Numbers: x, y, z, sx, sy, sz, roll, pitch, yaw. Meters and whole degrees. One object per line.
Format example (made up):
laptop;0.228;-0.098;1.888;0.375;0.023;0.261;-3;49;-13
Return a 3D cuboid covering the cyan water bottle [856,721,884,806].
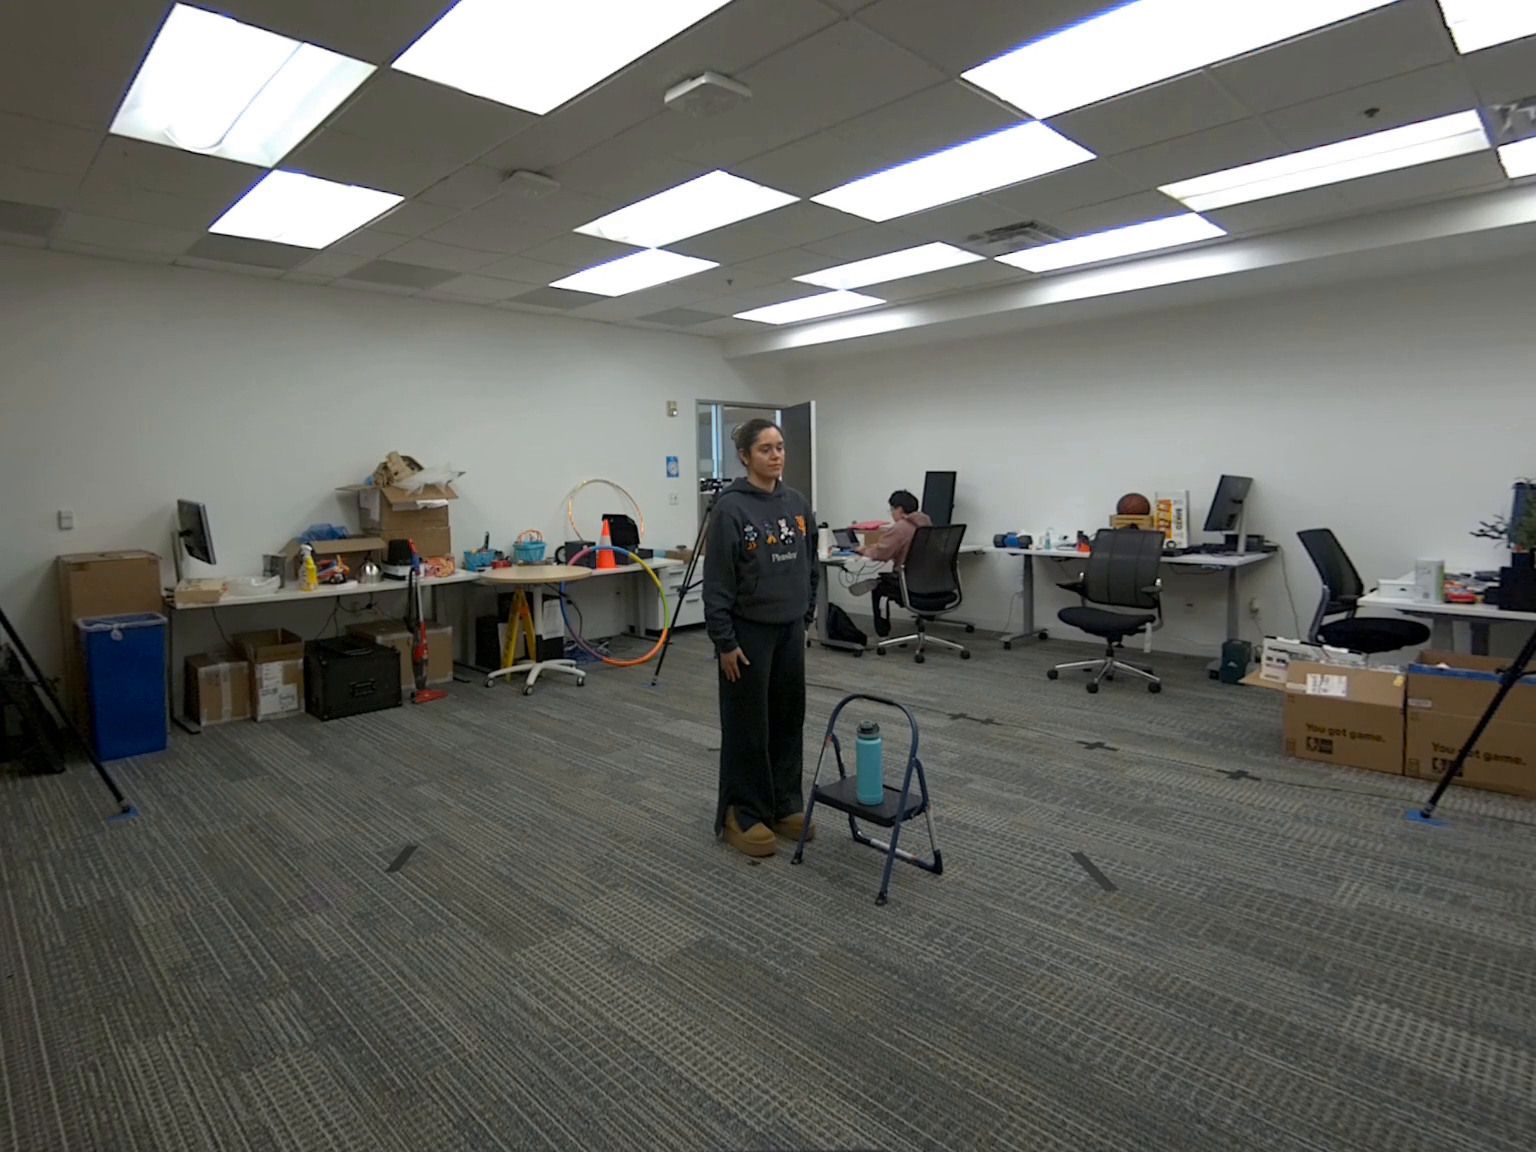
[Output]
cyan water bottle;0.360;0.650;2.984;0.092;0.282;0.093;-3;3;-1
